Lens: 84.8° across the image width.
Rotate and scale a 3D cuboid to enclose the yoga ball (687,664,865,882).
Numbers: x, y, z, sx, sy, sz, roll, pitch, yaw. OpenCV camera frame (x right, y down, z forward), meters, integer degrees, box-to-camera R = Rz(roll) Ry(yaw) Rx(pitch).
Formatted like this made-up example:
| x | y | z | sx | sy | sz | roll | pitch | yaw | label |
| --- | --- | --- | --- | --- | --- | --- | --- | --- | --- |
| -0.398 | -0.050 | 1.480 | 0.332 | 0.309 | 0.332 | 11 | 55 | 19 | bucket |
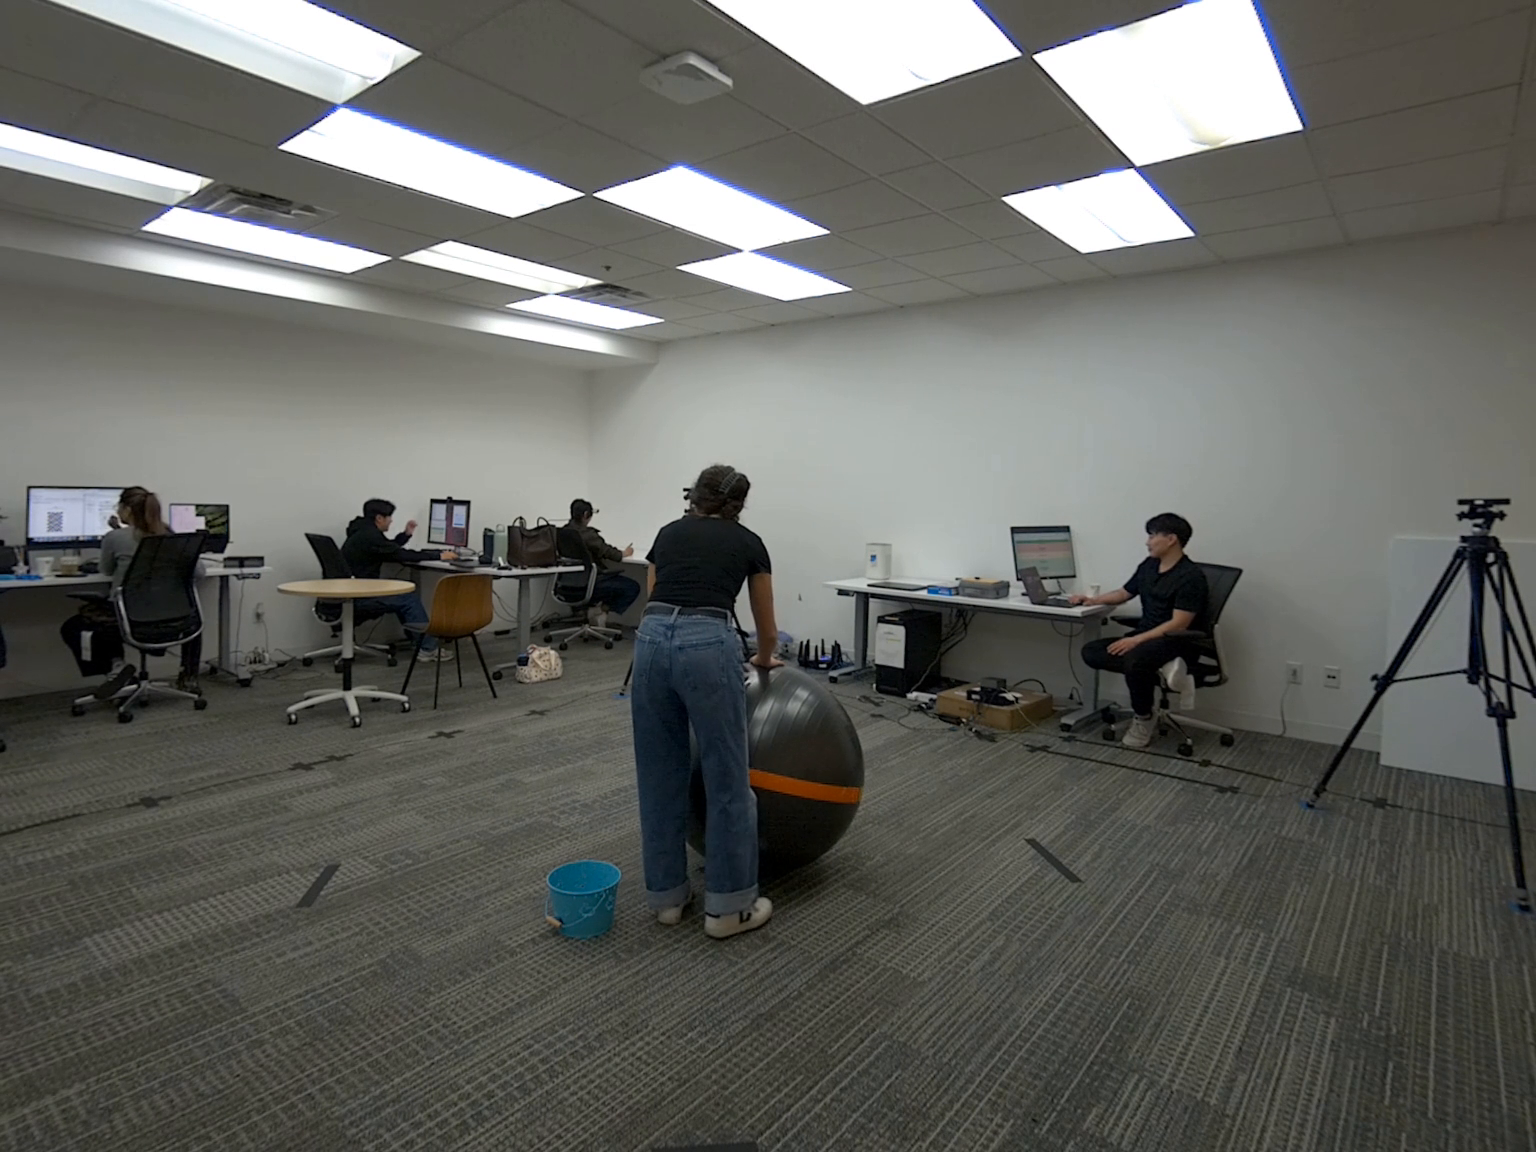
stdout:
| x | y | z | sx | sy | sz | roll | pitch | yaw | label |
| --- | --- | --- | --- | --- | --- | --- | --- | --- | --- |
| -0.038 | 0.705 | 3.155 | 0.757 | 0.756 | 0.762 | 1 | 4 | -2 | yoga ball |
